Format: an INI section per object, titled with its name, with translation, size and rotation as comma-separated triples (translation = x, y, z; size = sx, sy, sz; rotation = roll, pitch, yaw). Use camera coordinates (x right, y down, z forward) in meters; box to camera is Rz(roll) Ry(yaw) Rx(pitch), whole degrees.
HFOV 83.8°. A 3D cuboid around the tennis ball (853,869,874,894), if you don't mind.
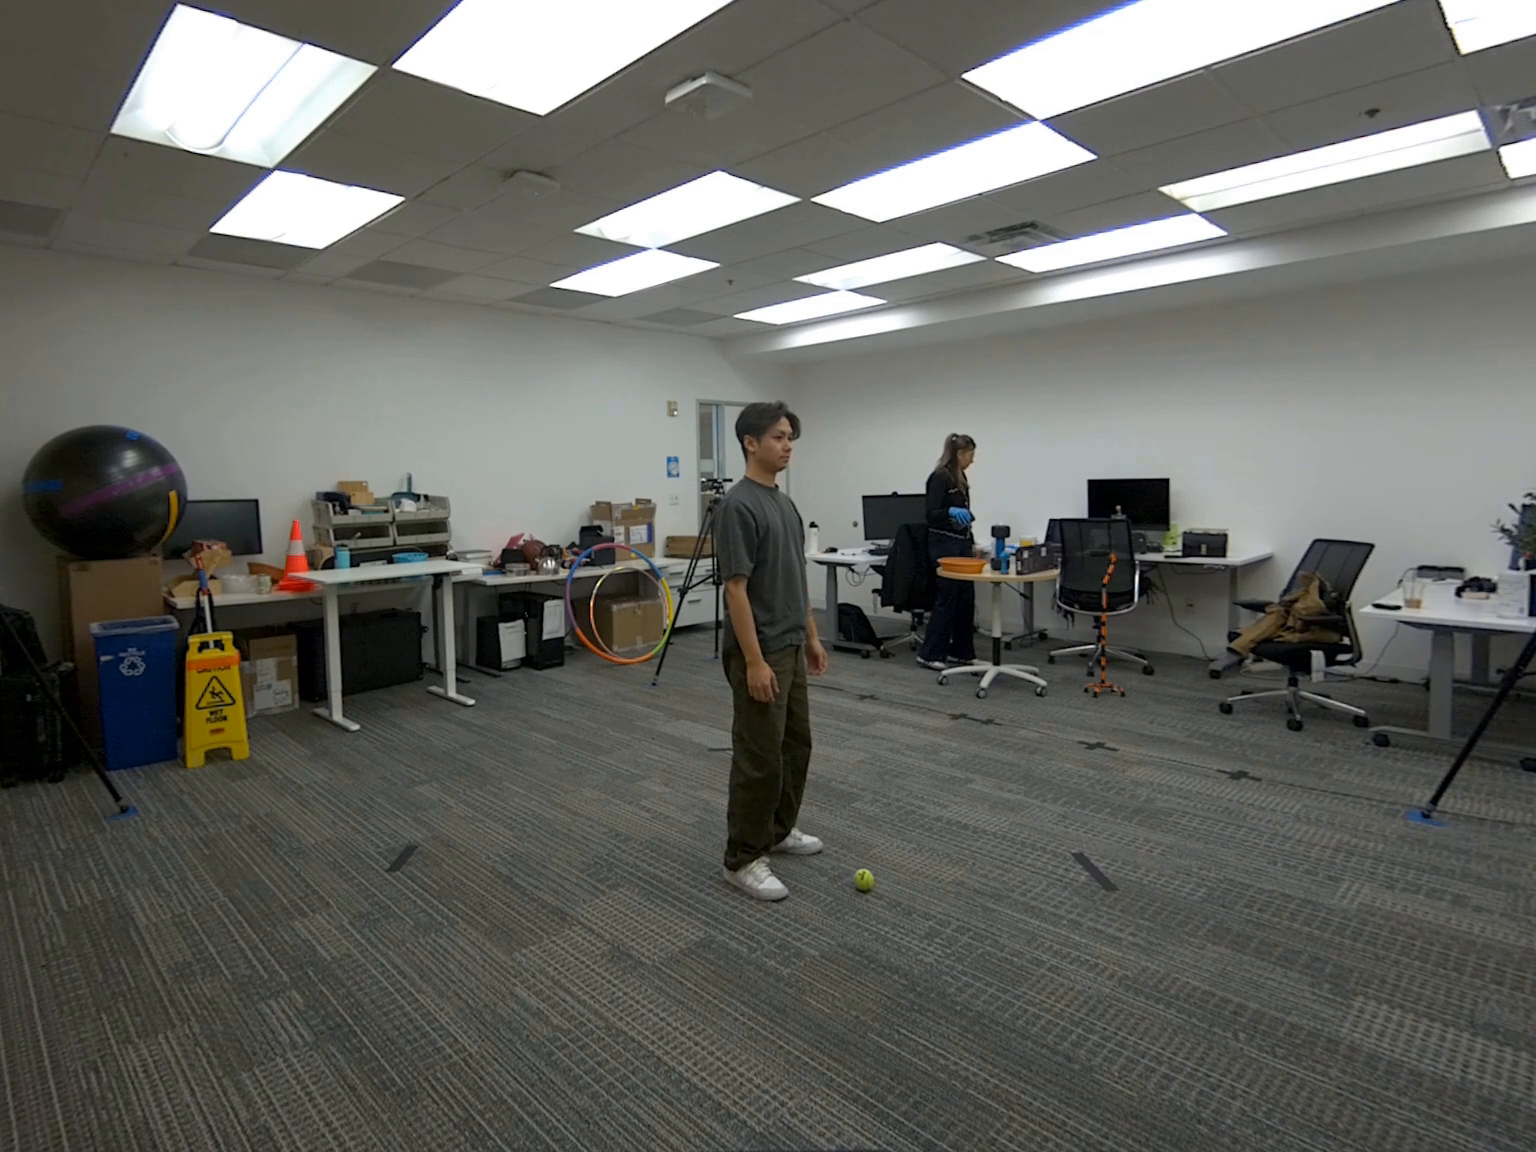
[tennis ball]
translation = 0.330, 1.014, 2.889
size = 0.066, 0.066, 0.067
rotation = -1, 5, -2
